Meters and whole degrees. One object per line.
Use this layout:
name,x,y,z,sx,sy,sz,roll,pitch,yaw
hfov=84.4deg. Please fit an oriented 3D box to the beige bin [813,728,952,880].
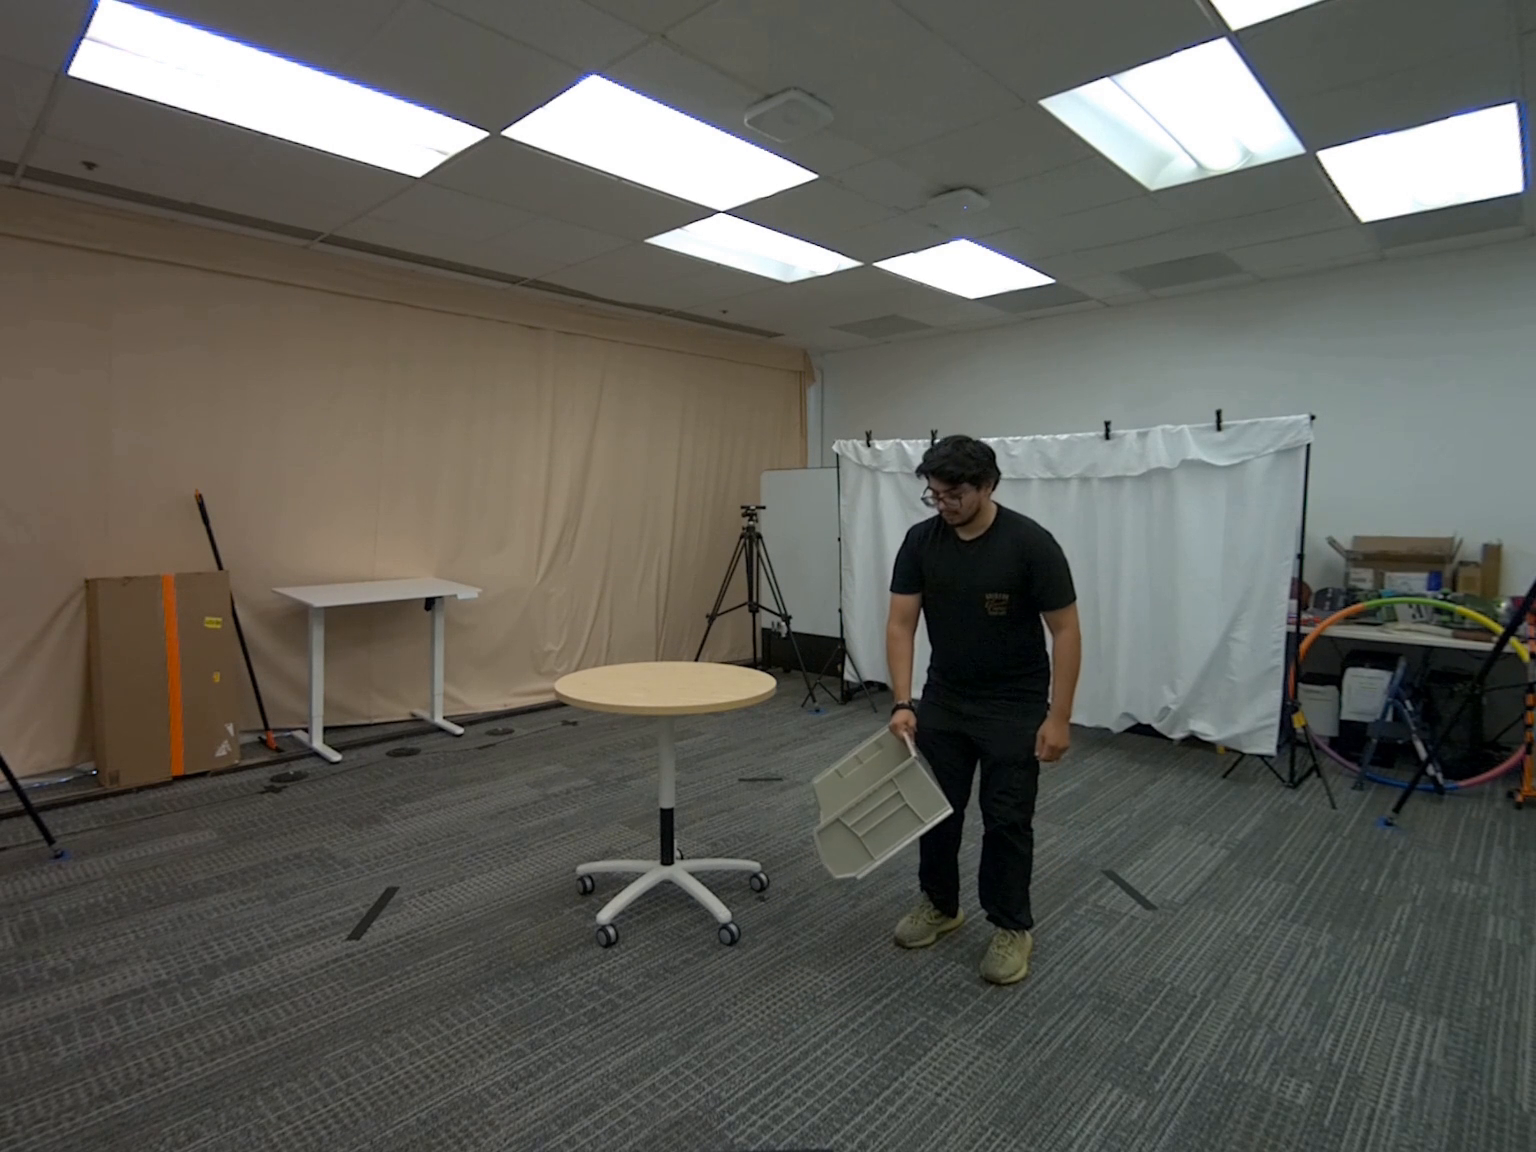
beige bin,0.304,0.645,2.417,0.378,0.189,0.421,-37,1,5
